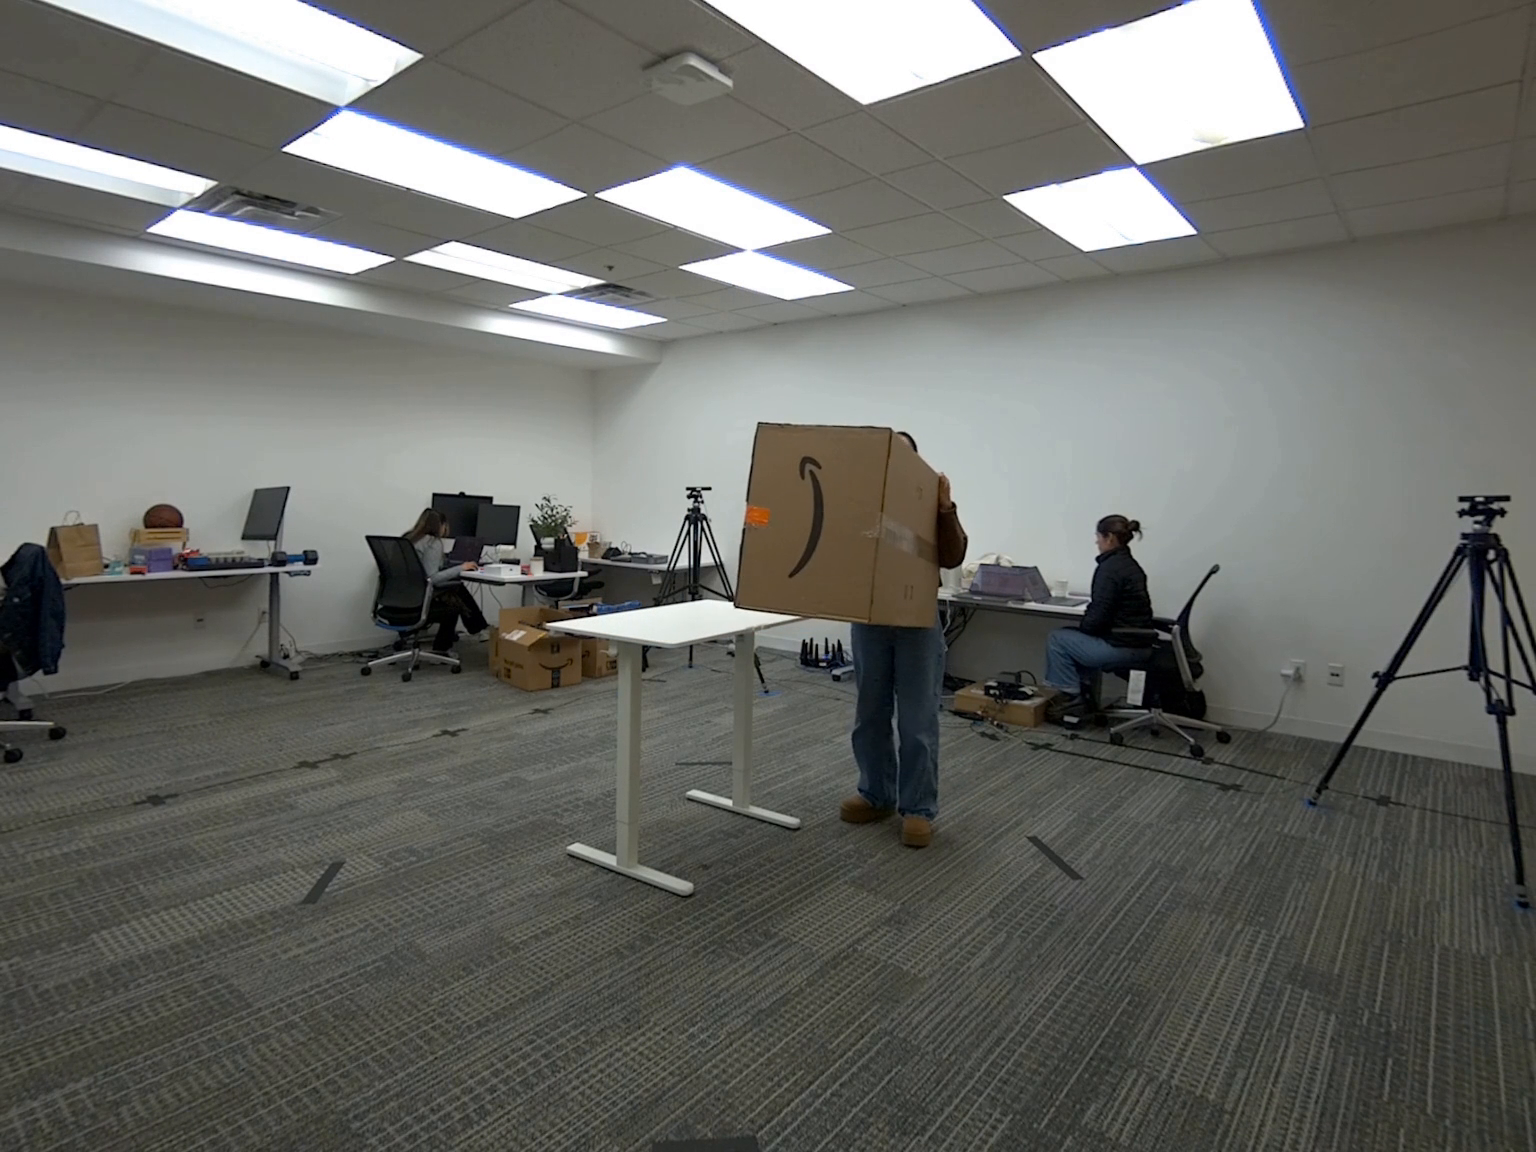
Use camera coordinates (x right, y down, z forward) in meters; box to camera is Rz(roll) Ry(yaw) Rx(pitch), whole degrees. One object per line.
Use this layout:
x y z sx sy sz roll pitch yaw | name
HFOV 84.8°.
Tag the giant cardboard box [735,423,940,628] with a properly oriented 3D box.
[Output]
0.289 -0.133 2.973 0.437 0.579 0.997 7 -2 23 | giant cardboard box
